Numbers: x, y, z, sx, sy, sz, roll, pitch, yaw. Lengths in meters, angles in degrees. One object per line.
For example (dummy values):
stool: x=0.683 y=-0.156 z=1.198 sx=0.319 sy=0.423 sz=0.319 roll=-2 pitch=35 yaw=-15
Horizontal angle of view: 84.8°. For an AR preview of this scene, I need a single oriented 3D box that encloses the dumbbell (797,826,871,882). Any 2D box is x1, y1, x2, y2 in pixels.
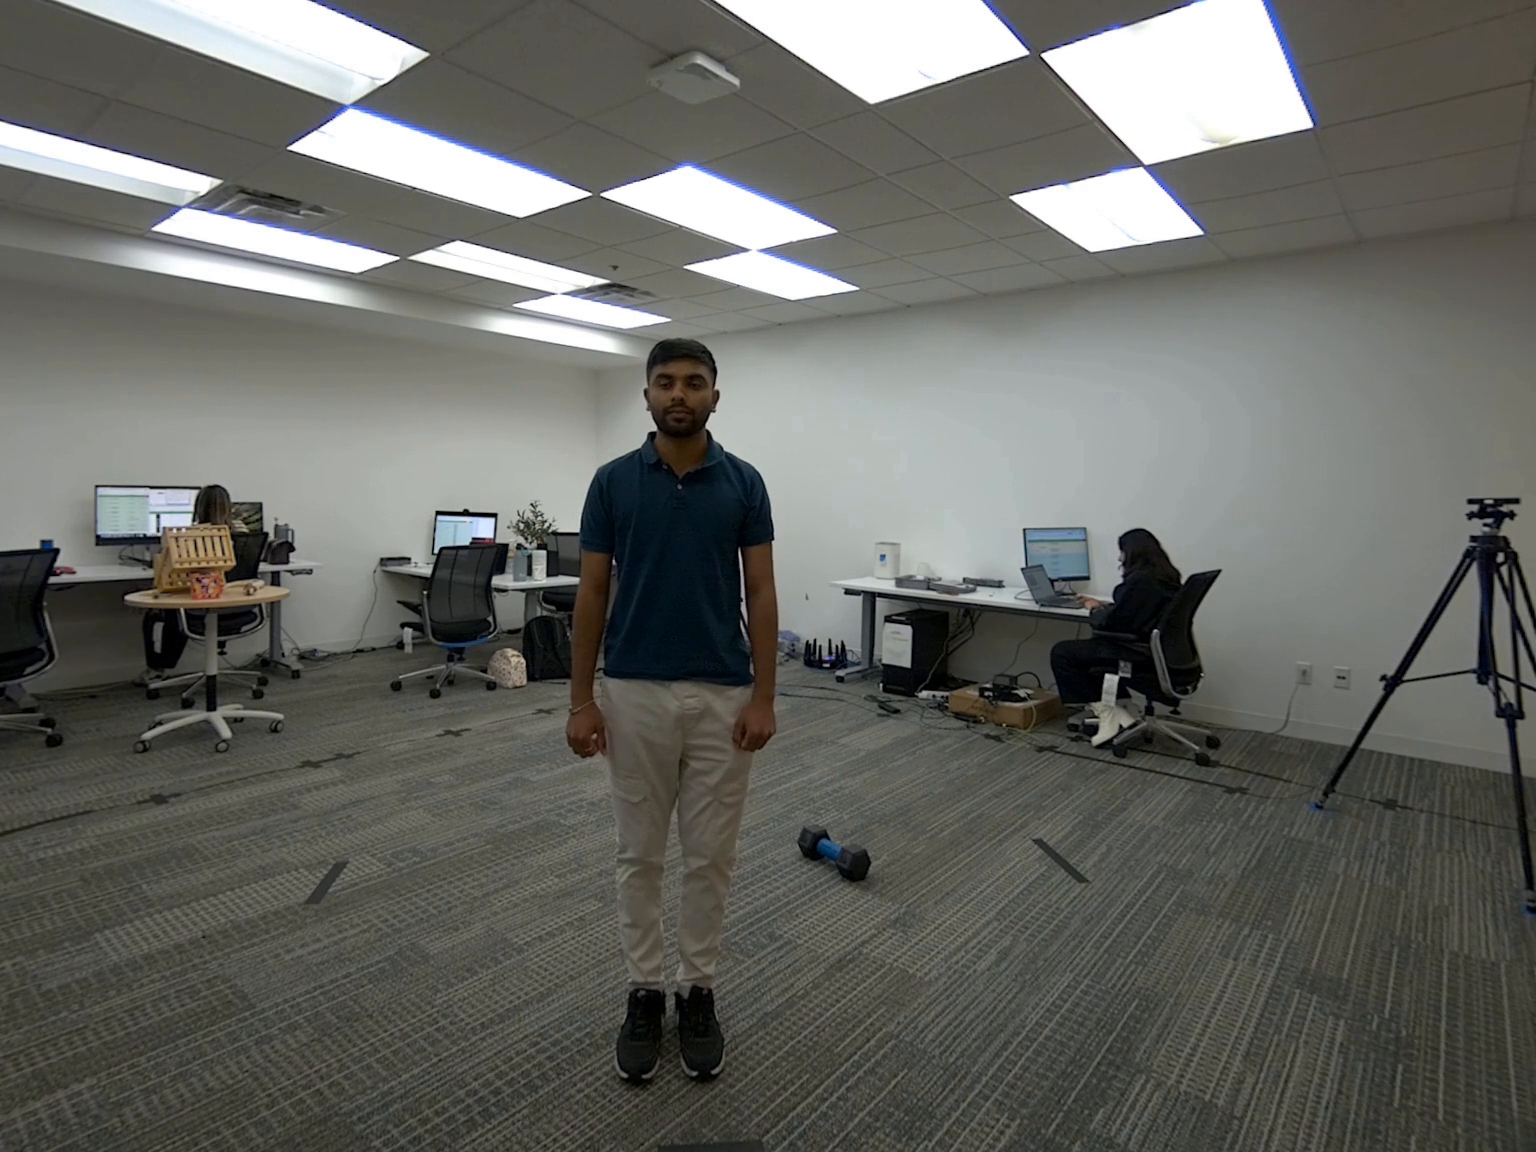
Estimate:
dumbbell: x=0.237 y=1.017 z=3.154 sx=0.104 sy=0.123 sz=0.303 roll=37 pitch=-17 yaw=-34
